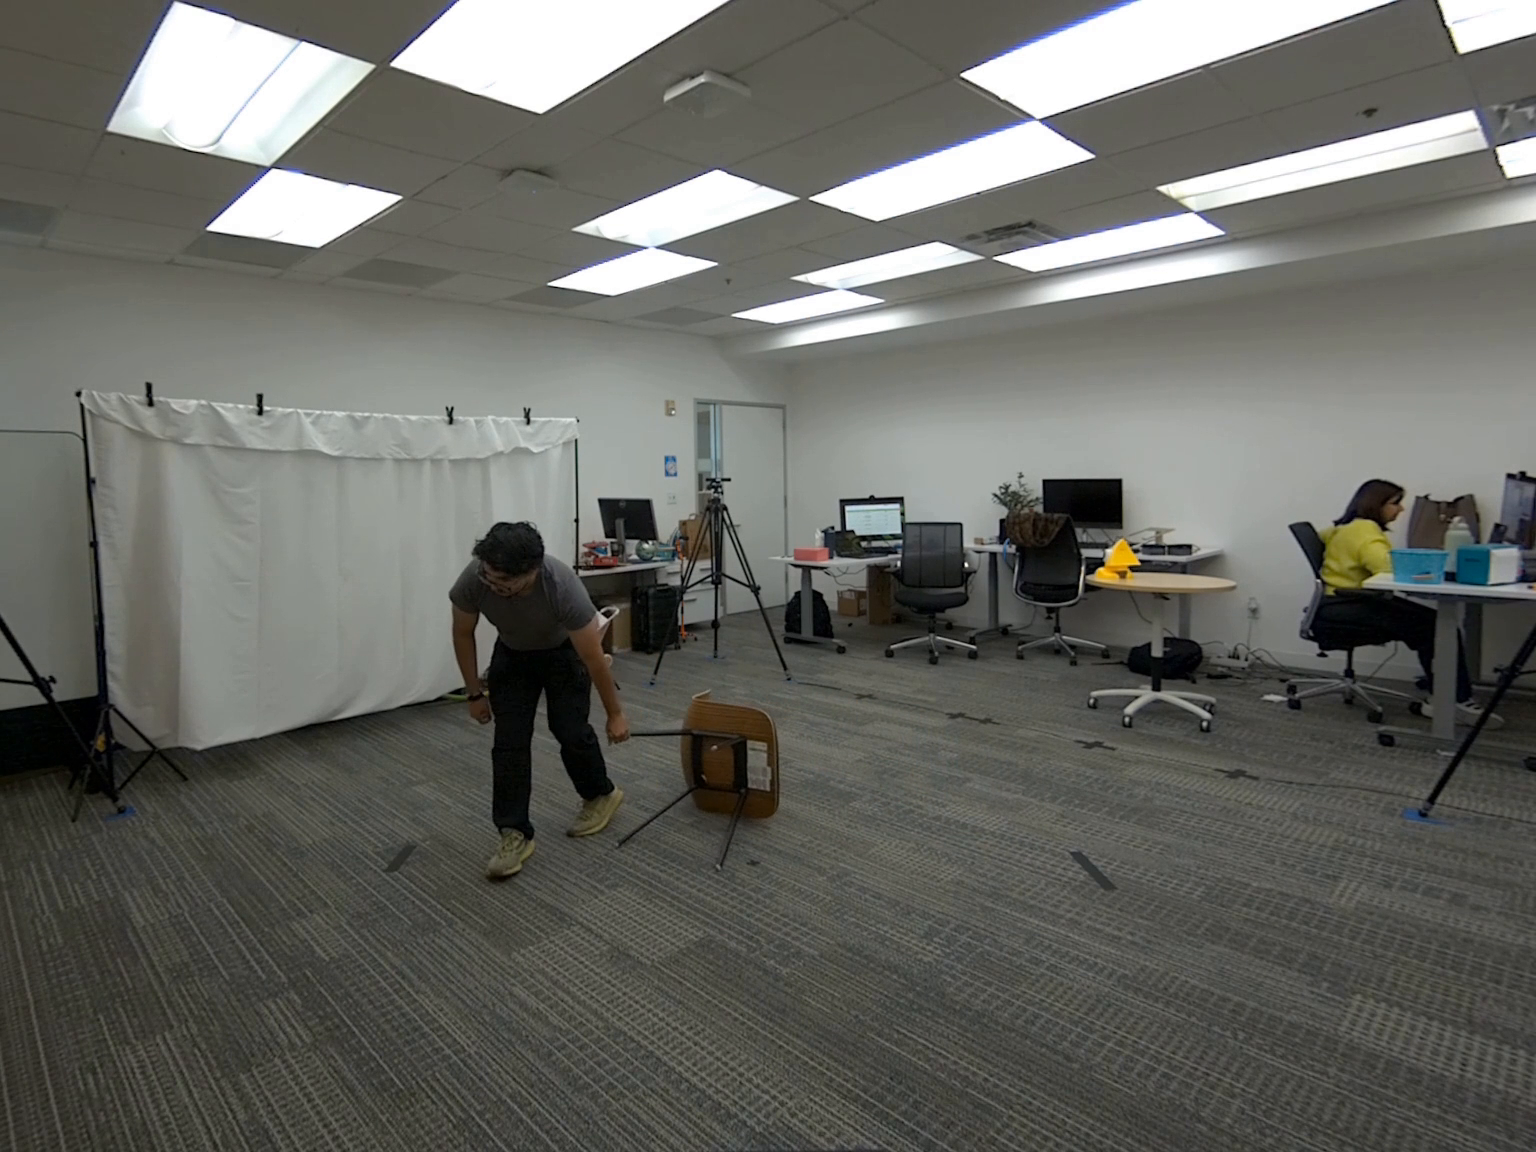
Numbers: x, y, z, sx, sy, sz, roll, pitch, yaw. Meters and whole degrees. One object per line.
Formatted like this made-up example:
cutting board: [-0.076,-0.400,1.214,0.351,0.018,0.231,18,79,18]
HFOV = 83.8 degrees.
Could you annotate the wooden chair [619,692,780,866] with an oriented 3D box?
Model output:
wooden chair: [-0.204,0.770,3.513,0.534,0.476,0.864,0,6,21]
